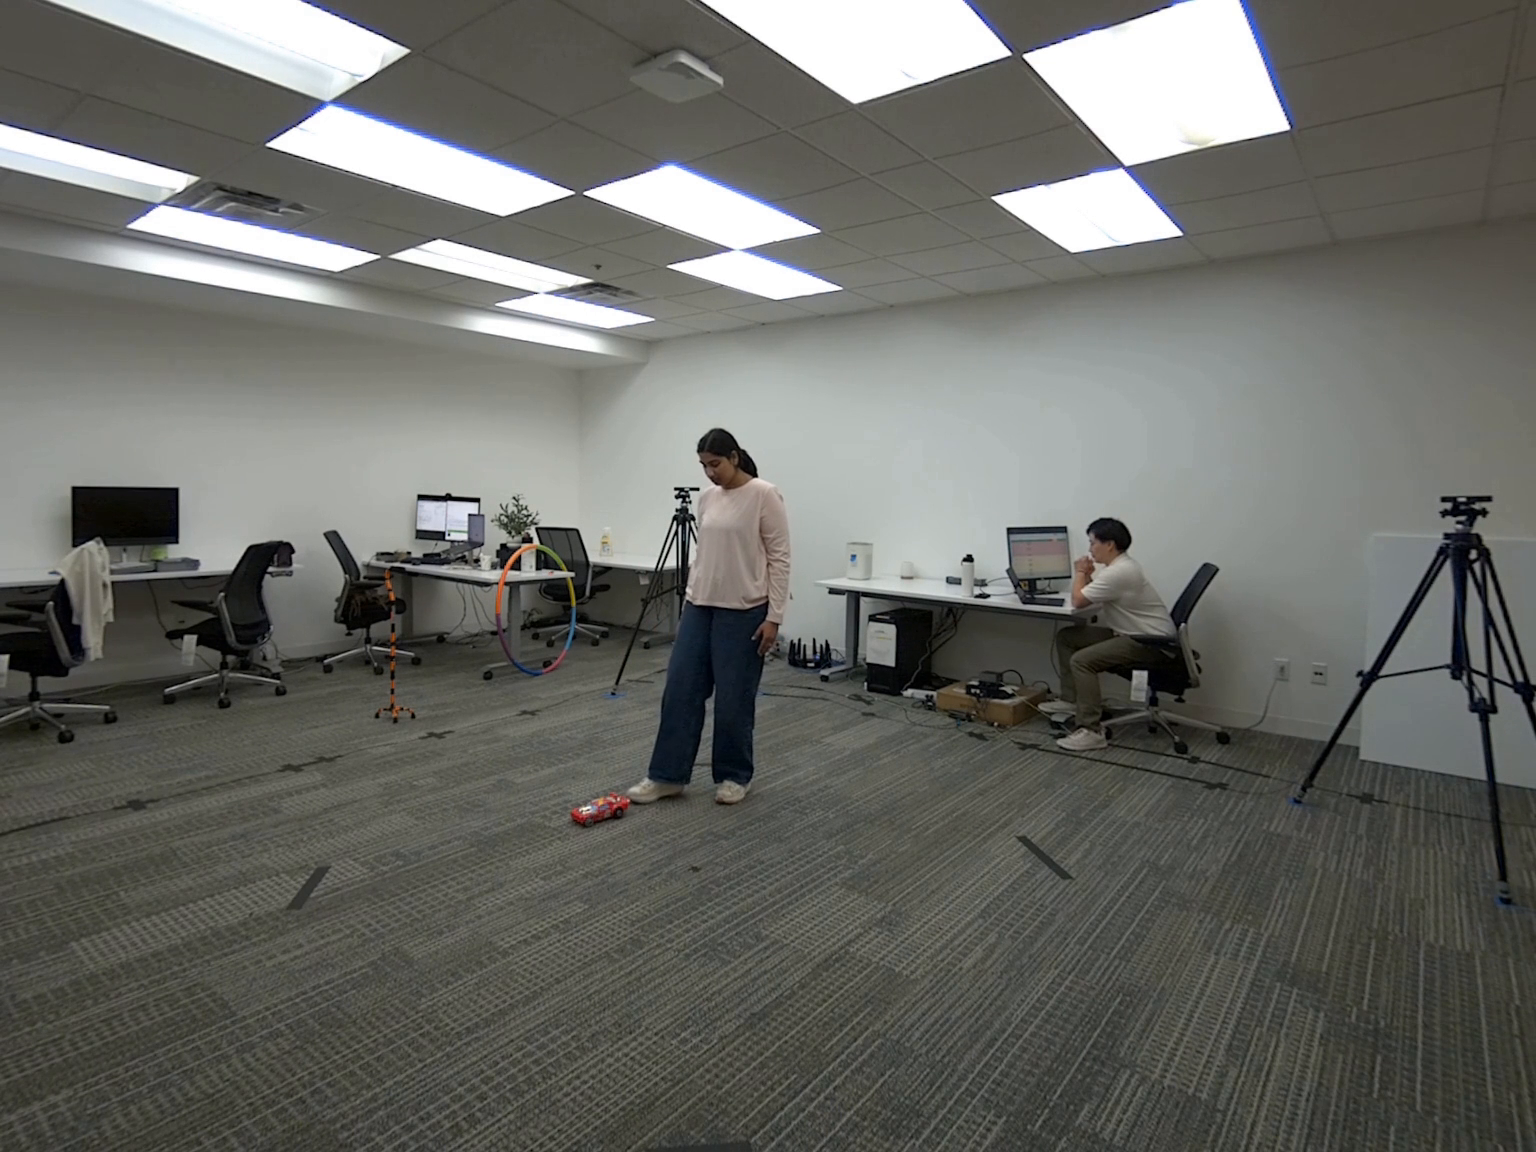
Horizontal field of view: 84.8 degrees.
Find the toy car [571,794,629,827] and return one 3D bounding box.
[{"bbox_3d":[-0.712,0.982,3.576,0.249,0.082,0.135,-19,16,-39],"label":"toy car"}]
